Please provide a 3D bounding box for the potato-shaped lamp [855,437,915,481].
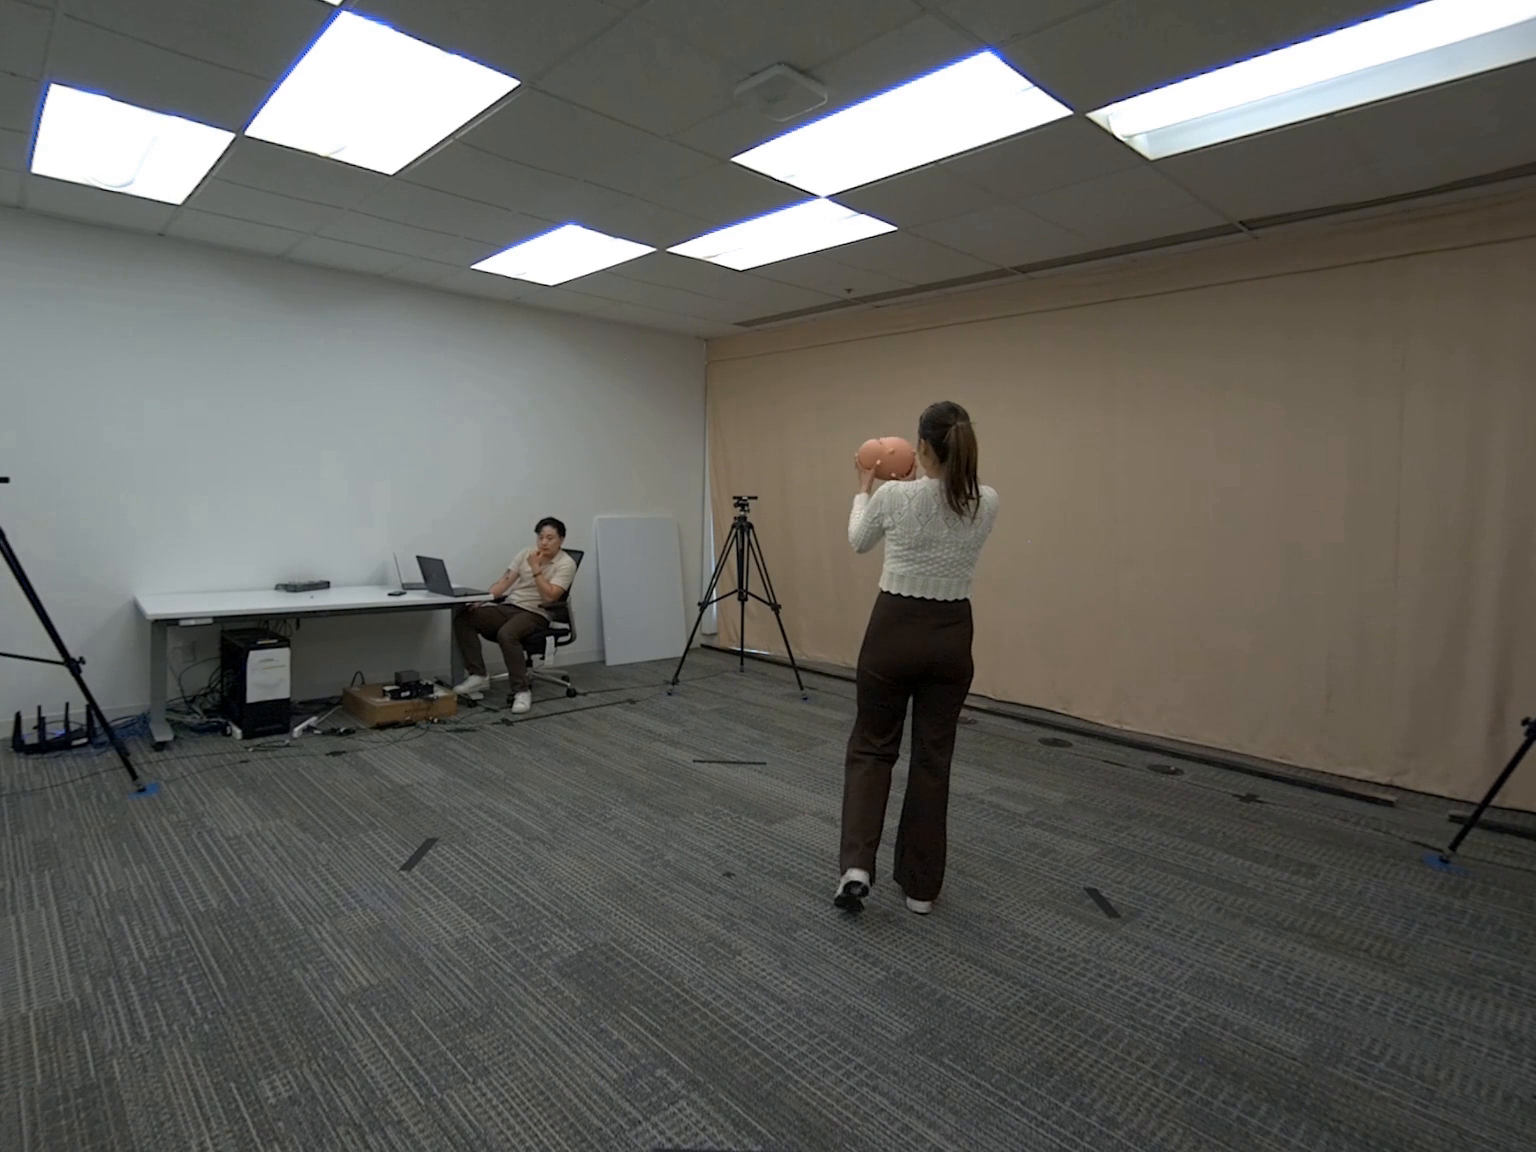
[{"bbox_3d":[0.439,-0.454,3.222,0.195,0.169,0.169,11,29,-17],"label":"potato-shaped lamp"}]
